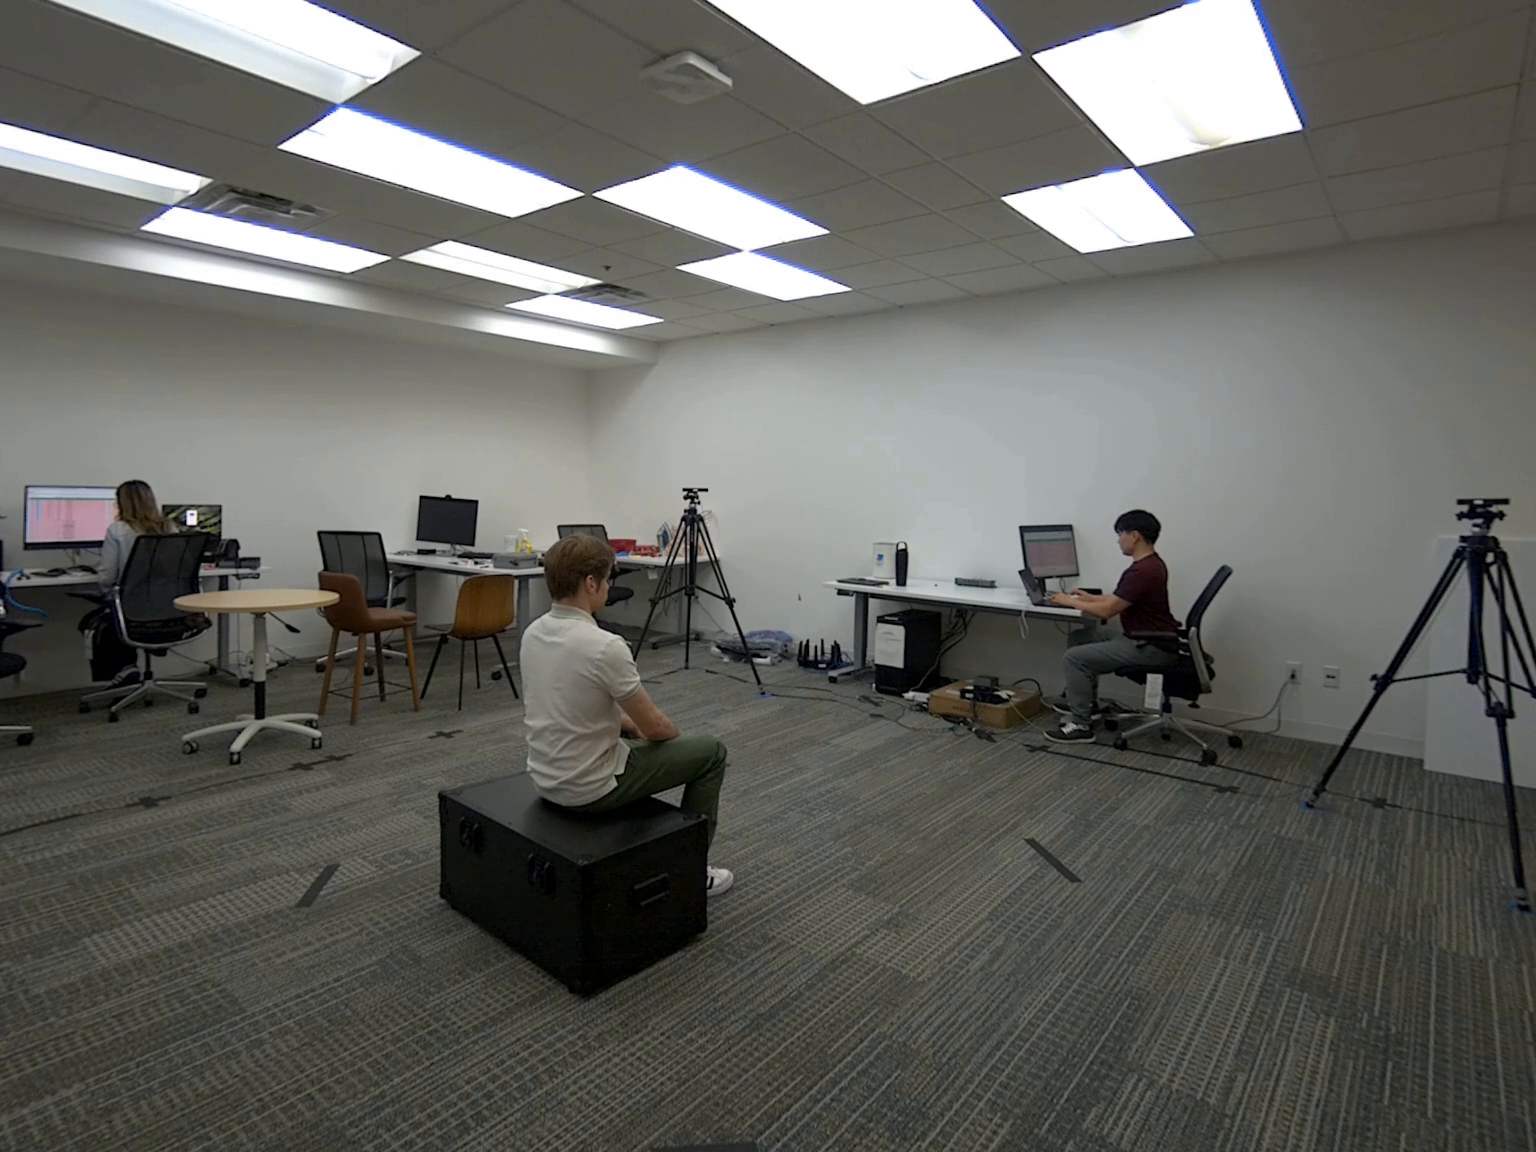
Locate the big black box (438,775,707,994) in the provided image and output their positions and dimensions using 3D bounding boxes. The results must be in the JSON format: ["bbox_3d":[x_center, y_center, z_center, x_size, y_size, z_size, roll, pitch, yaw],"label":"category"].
[{"bbox_3d":[-0.671,0.906,2.740,0.898,0.383,0.508,6,8,42],"label":"big black box"}]
